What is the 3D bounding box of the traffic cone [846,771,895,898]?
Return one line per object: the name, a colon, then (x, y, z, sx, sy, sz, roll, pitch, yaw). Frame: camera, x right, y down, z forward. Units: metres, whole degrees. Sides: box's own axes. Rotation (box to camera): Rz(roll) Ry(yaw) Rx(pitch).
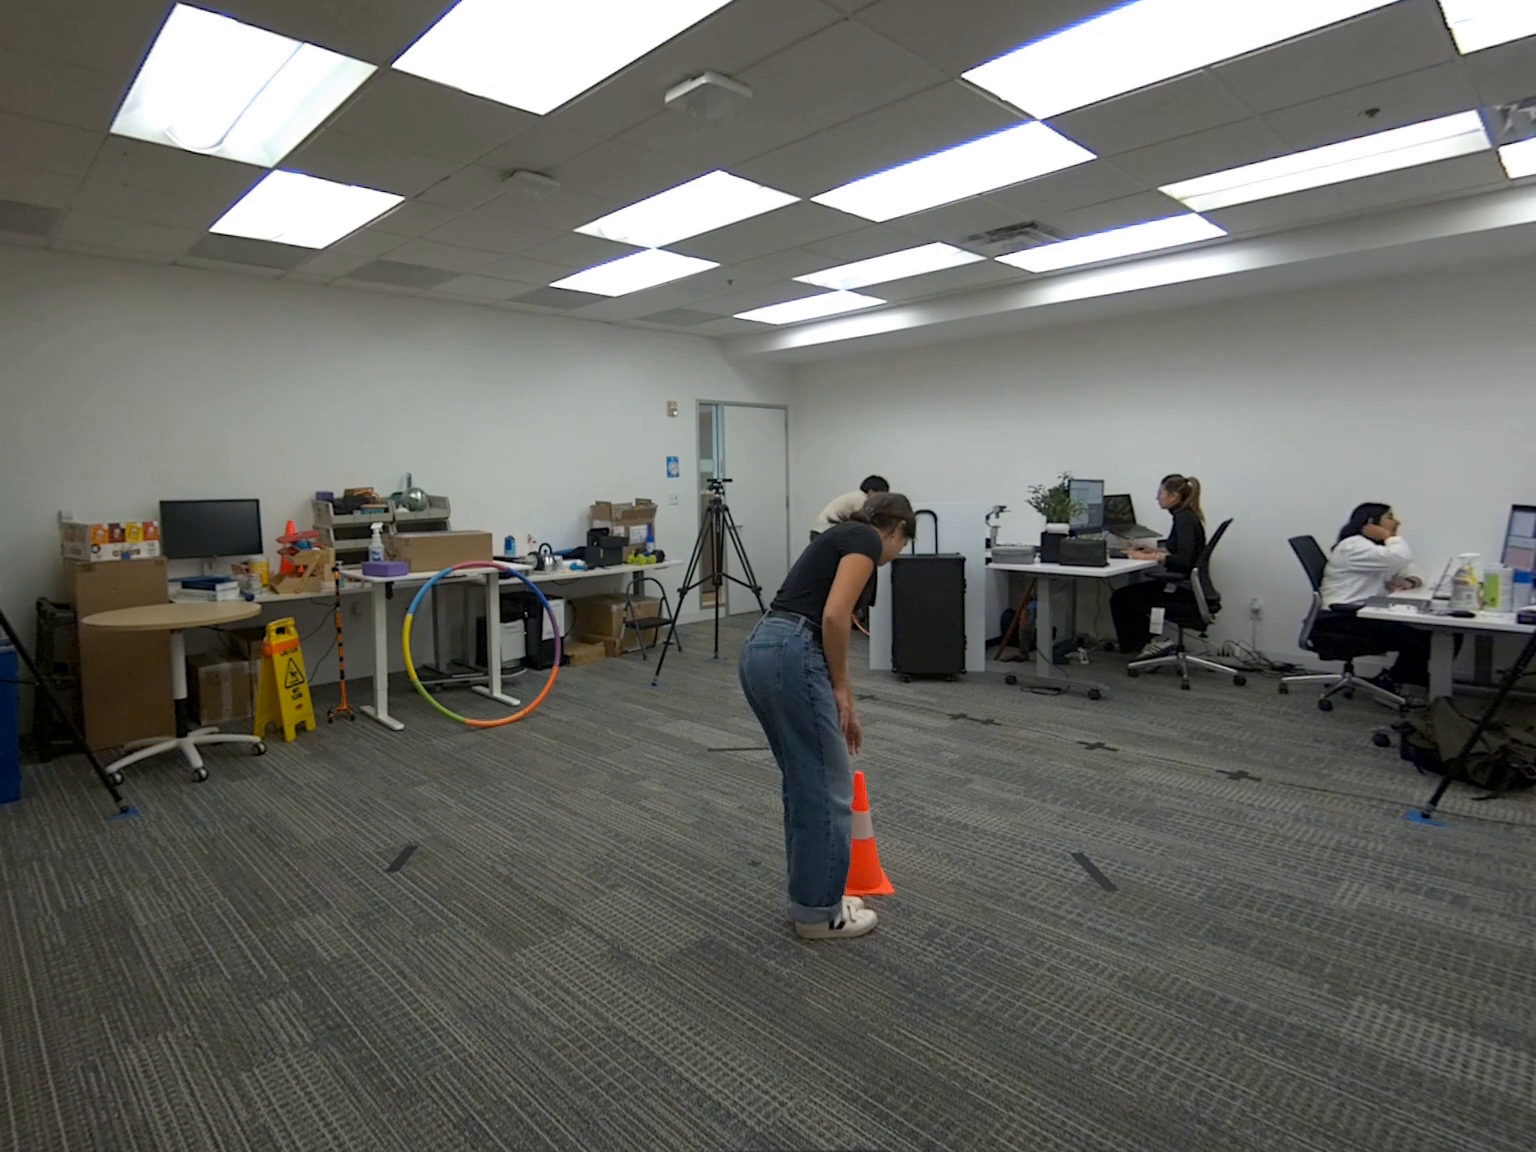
traffic cone: (0.314, 0.873, 2.954, 0.204, 0.383, 0.204, -3, 2, -3)
